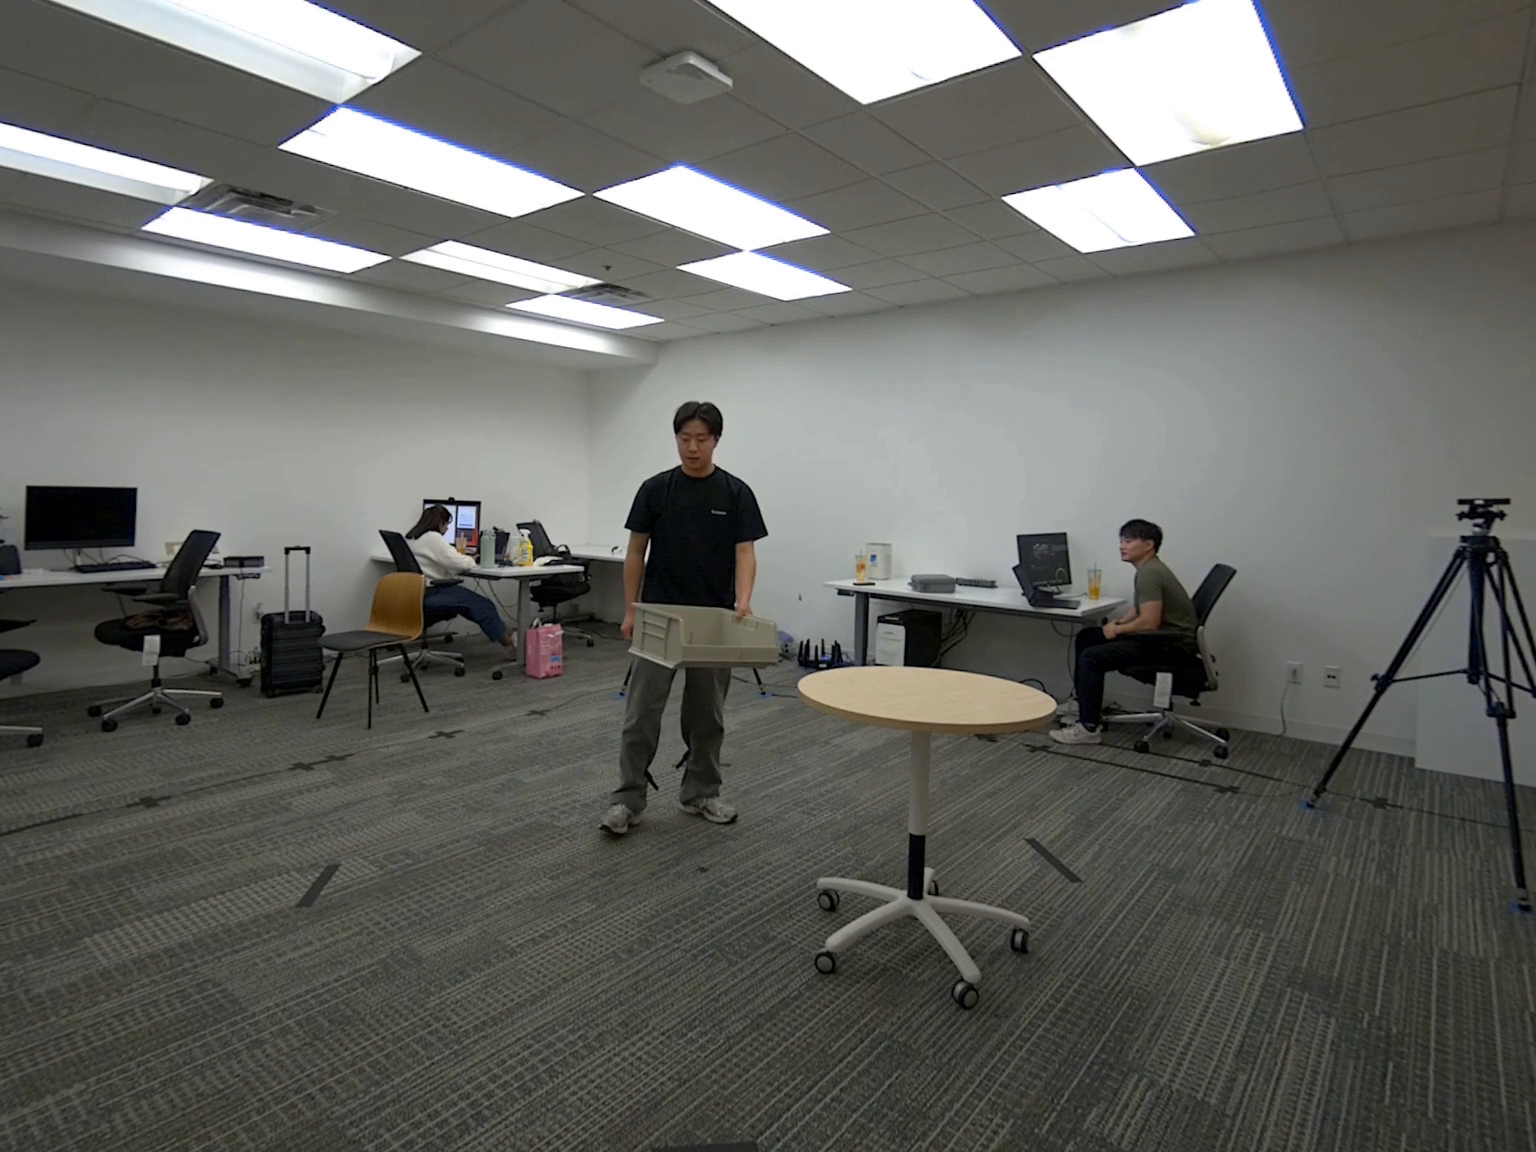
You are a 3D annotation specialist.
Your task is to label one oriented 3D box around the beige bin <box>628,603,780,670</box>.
[{"bbox_3d":[-0.245,0.222,3.094,0.408,0.189,0.390,4,2,-38],"label":"beige bin"}]
